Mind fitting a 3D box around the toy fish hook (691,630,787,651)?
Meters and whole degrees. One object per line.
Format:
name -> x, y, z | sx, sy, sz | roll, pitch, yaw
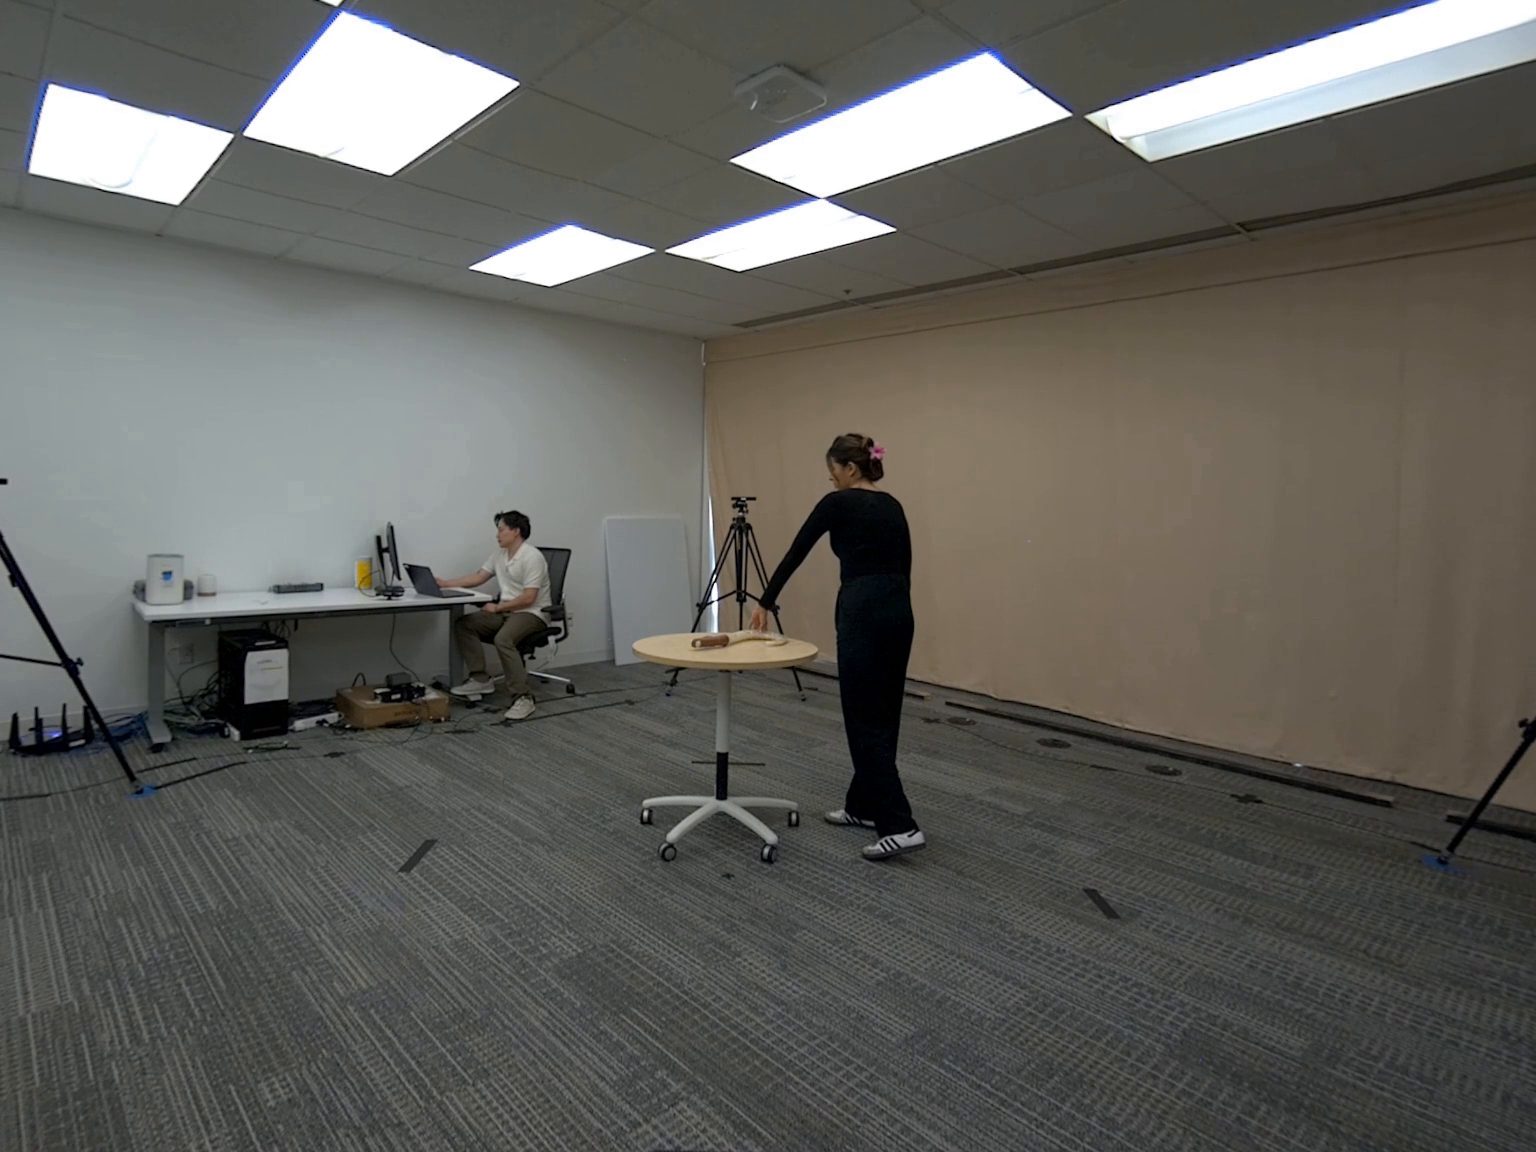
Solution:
toy fish hook -> -0.112, 0.269, 3.499 | 0.230, 0.048, 0.495 | 4, 4, 37
